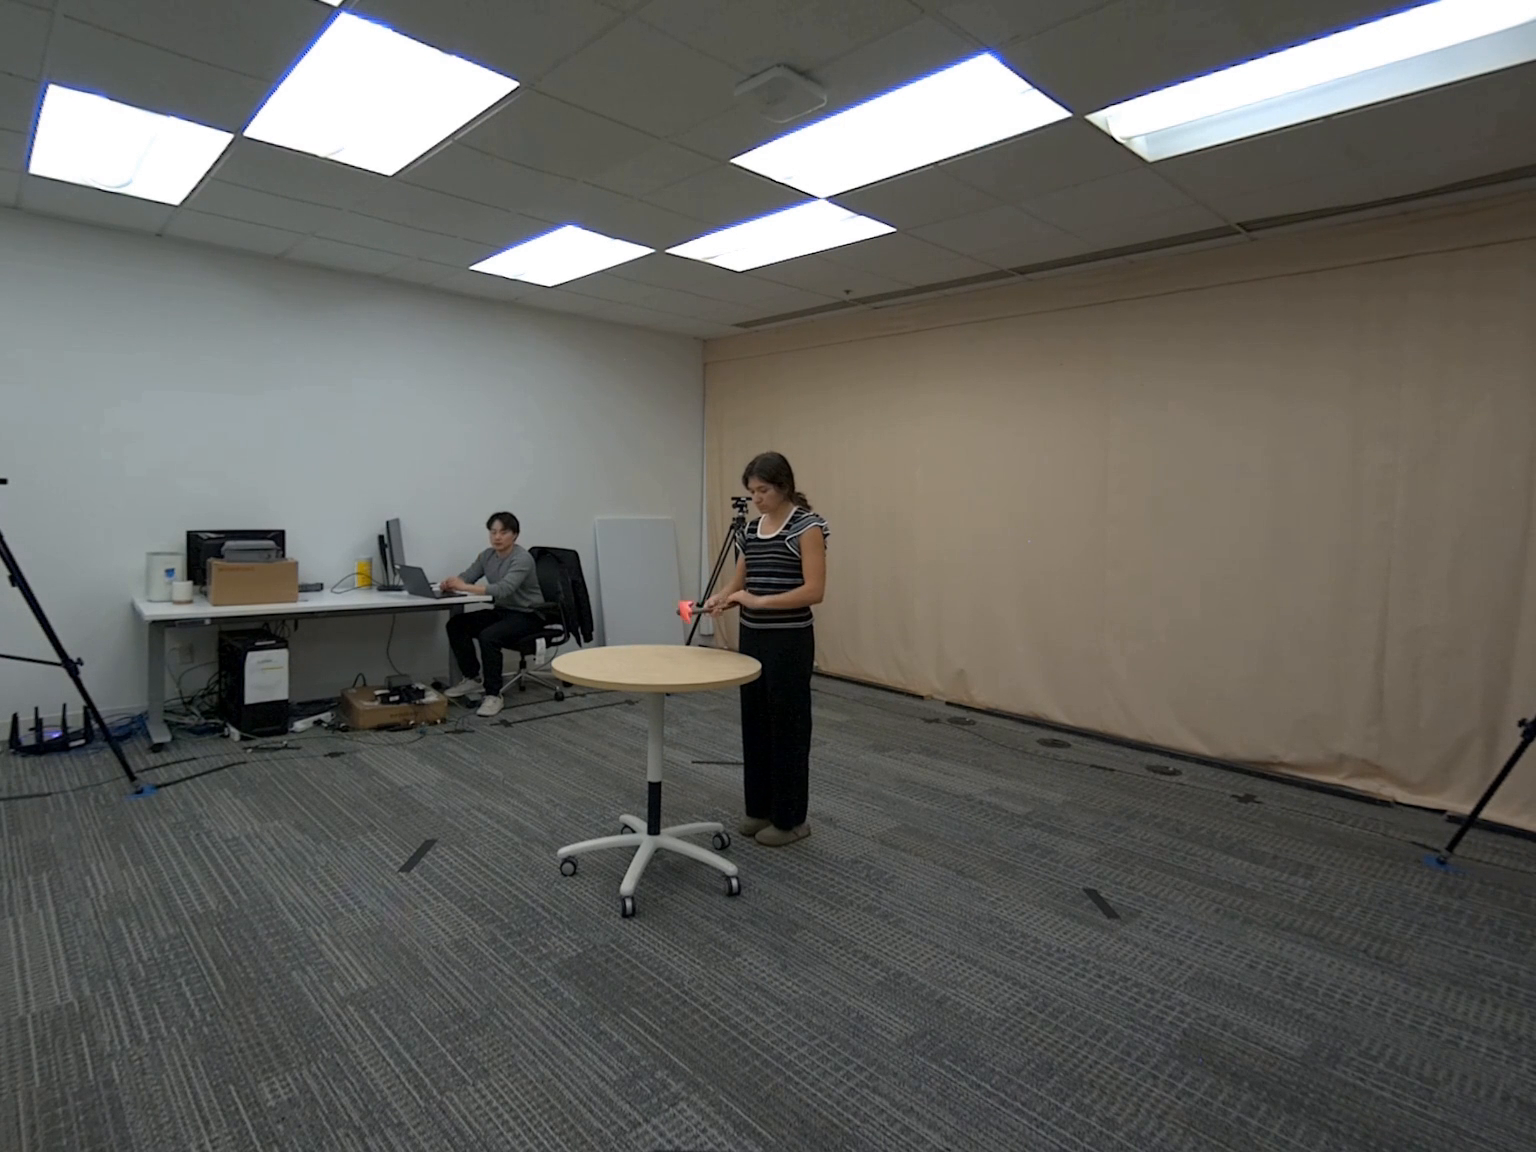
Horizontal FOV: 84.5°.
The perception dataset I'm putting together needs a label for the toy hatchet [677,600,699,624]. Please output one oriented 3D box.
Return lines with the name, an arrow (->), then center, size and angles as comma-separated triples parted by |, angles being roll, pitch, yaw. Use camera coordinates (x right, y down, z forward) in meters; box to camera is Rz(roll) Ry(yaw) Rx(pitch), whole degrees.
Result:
toy hatchet -> -0.241, 0.114, 3.287 | 0.265, 0.029, 0.135 | -14, 38, -38
